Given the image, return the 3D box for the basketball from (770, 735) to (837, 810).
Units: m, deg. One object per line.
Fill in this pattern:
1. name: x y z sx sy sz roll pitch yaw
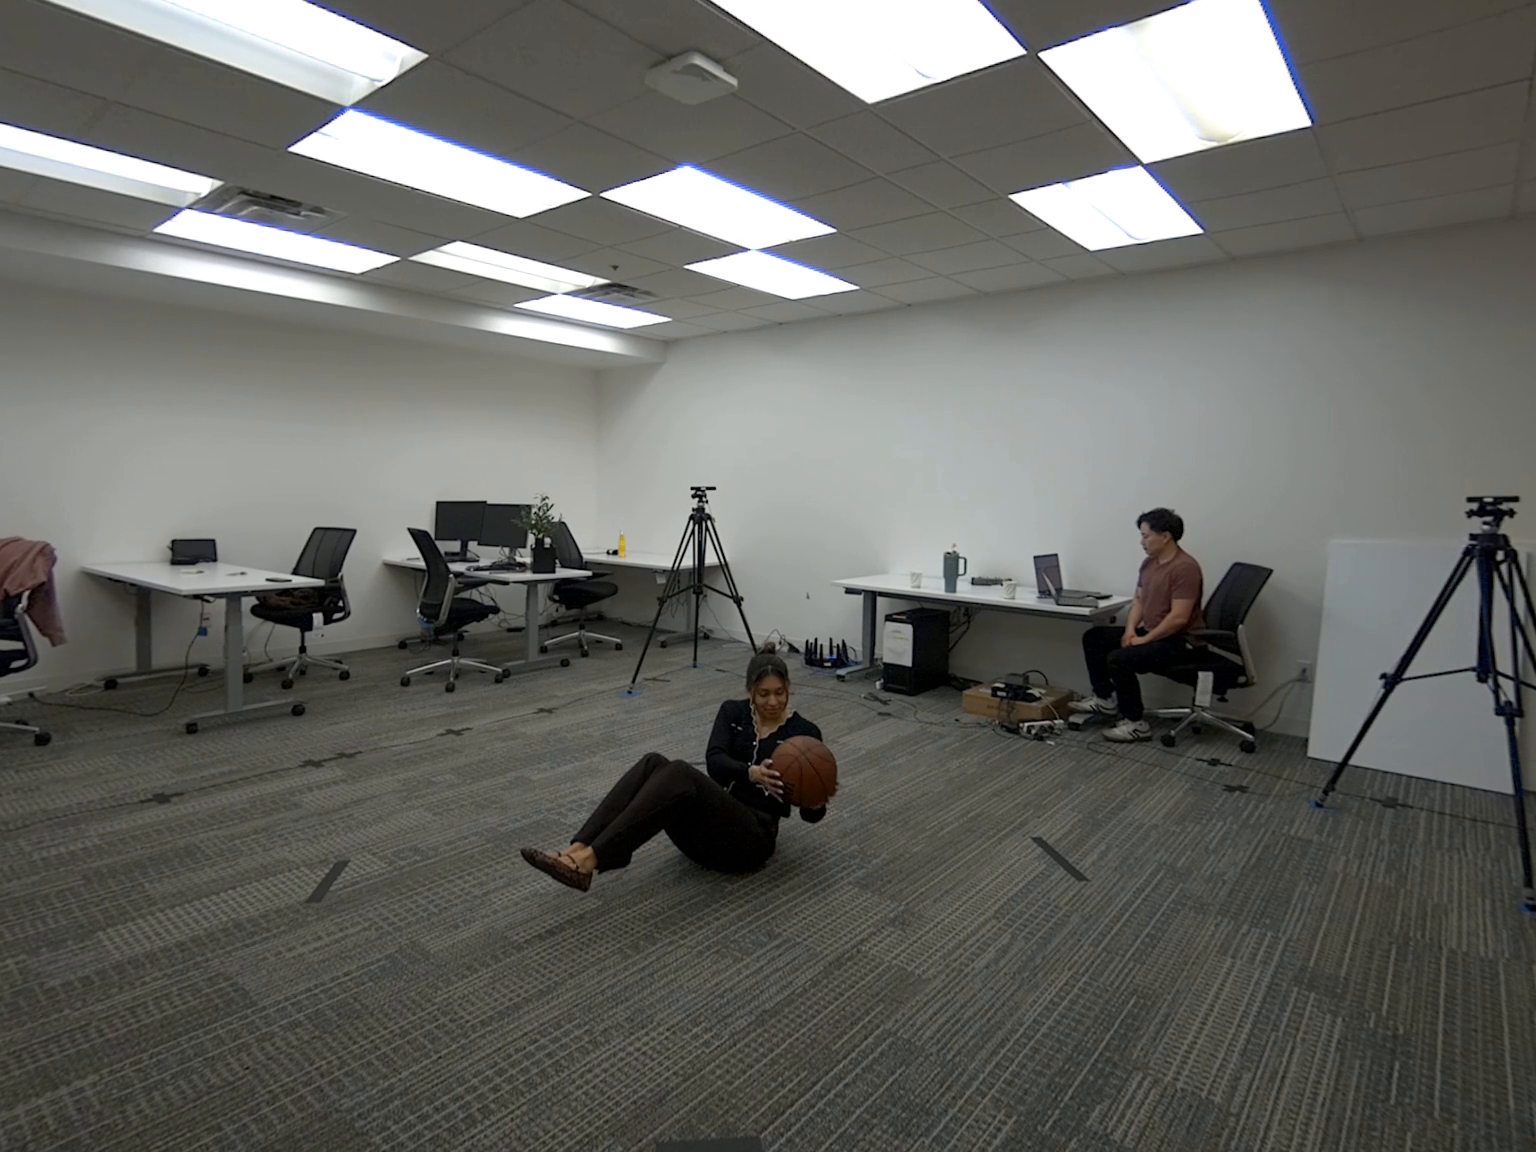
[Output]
1. basketball: 0.100 0.665 2.933 0.235 0.235 0.237 1 4 -2
